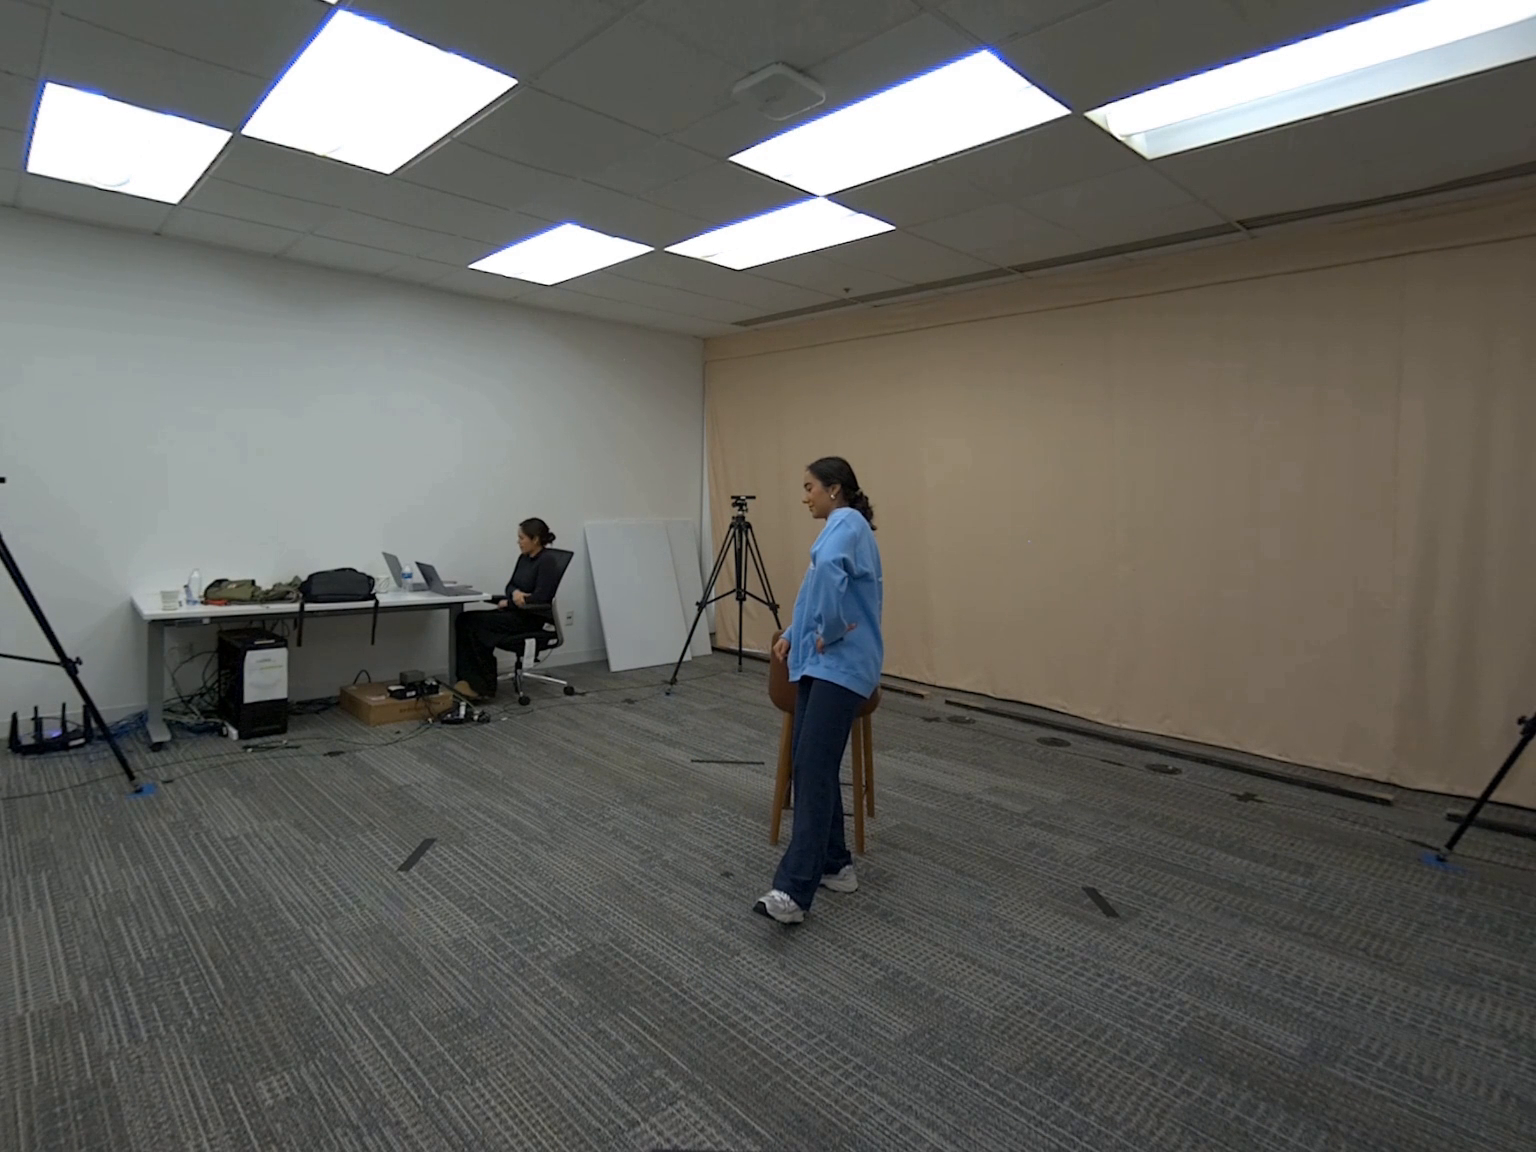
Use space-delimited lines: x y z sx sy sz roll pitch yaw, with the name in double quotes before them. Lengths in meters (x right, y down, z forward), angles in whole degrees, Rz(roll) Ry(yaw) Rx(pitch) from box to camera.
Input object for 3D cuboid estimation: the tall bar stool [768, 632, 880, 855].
"tall bar stool" 0.236 0.639 3.539 0.461 0.887 0.464 2 5 13
